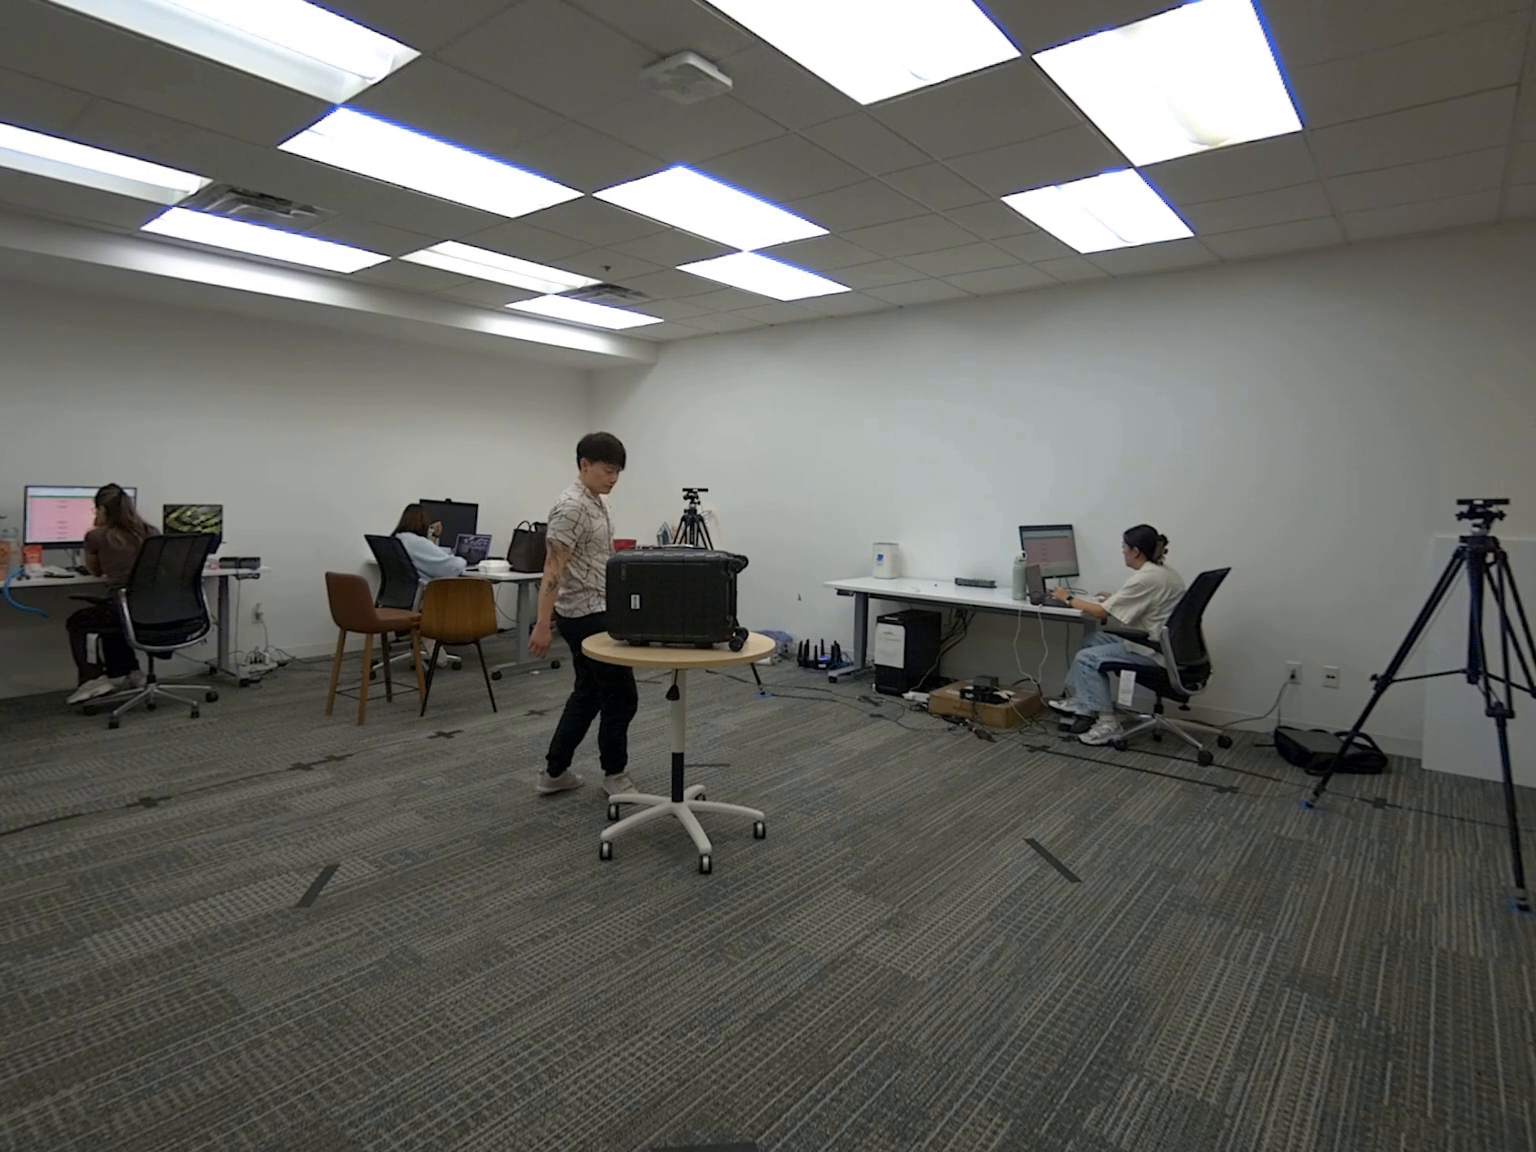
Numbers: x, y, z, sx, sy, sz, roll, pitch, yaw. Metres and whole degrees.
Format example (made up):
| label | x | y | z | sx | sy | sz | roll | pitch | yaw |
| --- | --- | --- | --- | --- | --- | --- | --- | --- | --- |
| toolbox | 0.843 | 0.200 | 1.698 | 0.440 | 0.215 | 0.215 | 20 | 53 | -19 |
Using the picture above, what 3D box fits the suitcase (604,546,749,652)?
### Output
| label | x | y | z | sx | sy | sz | roll | pitch | yaw |
| --- | --- | --- | --- | --- | --- | --- | --- | --- | --- |
| suitcase | -0.371 | 0.072 | 3.323 | 0.554 | 0.374 | 0.247 | 2 | 5 | 7 |
